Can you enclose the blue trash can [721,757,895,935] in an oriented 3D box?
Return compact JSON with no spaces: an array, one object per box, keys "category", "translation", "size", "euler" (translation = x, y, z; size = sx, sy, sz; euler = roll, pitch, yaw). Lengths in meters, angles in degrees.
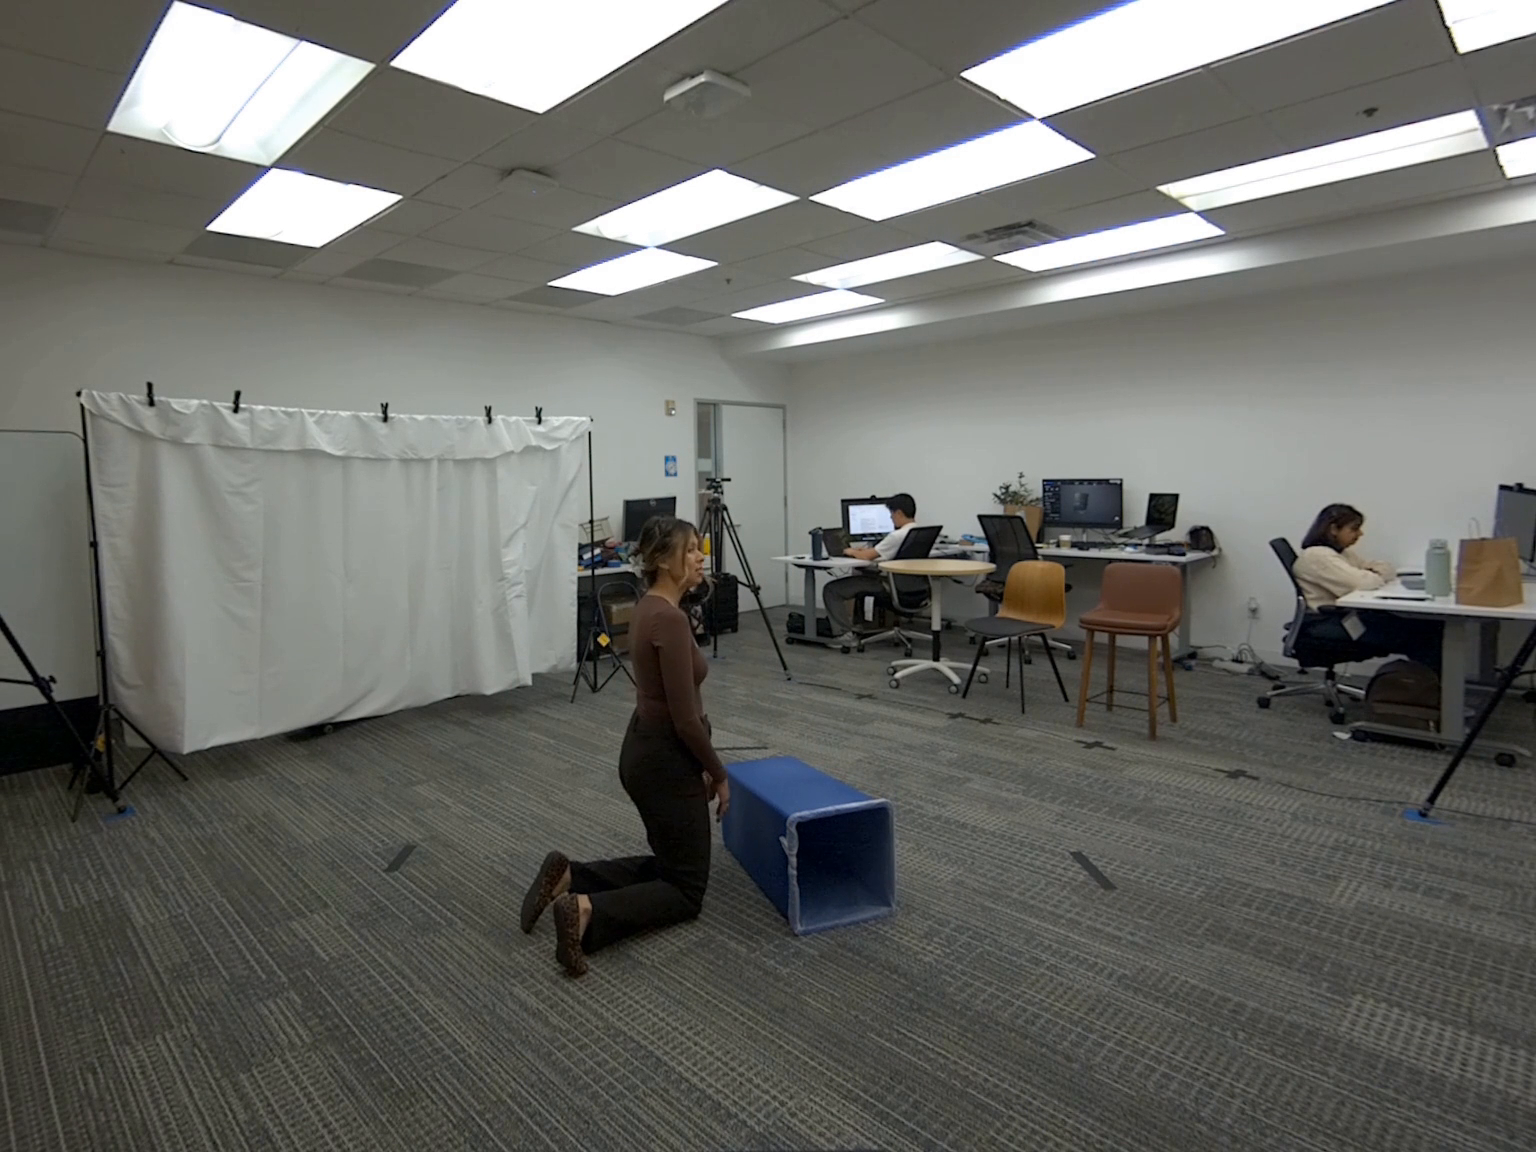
[{"category":"blue trash can","translation":[0.104,0.879,2.991],"size":[0.367,0.377,0.728],"euler":[-4,4,-21]}]
